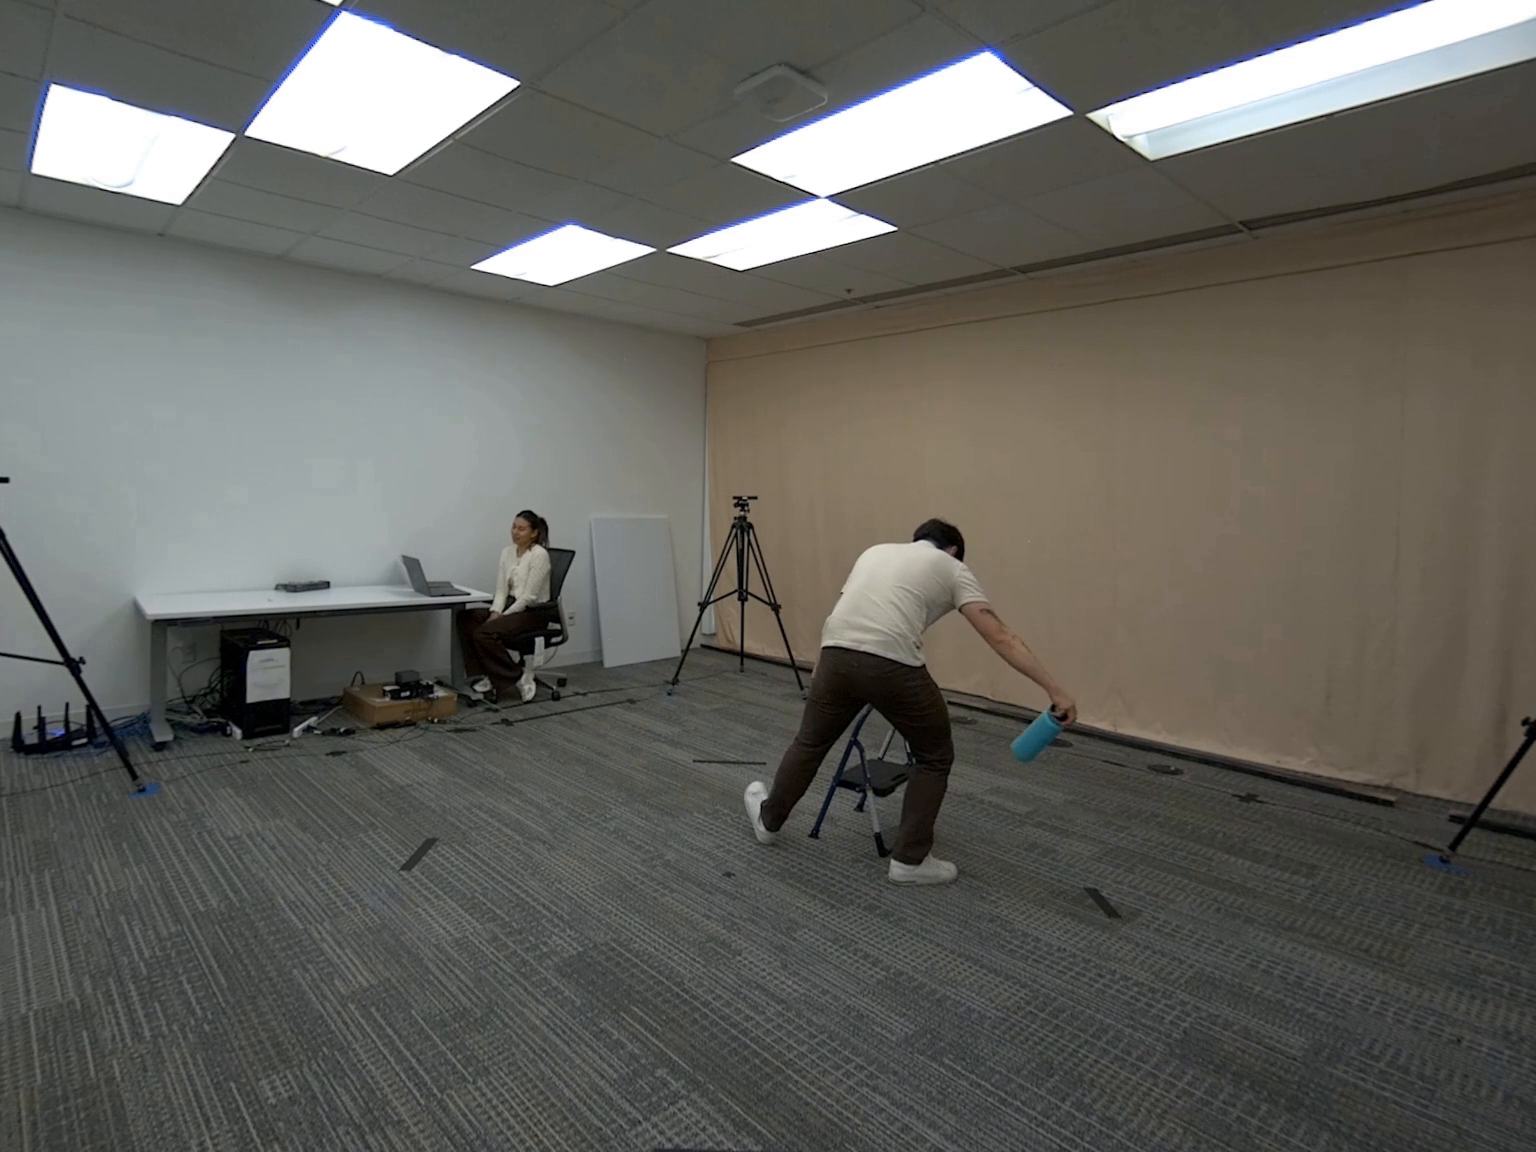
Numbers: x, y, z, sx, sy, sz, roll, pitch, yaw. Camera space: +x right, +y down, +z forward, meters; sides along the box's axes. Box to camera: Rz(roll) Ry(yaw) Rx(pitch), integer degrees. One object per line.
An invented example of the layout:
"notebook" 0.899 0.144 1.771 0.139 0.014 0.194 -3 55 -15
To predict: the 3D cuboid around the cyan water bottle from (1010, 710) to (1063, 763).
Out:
"cyan water bottle" 0.951 0.560 3.048 0.091 0.281 0.094 16 40 -16
